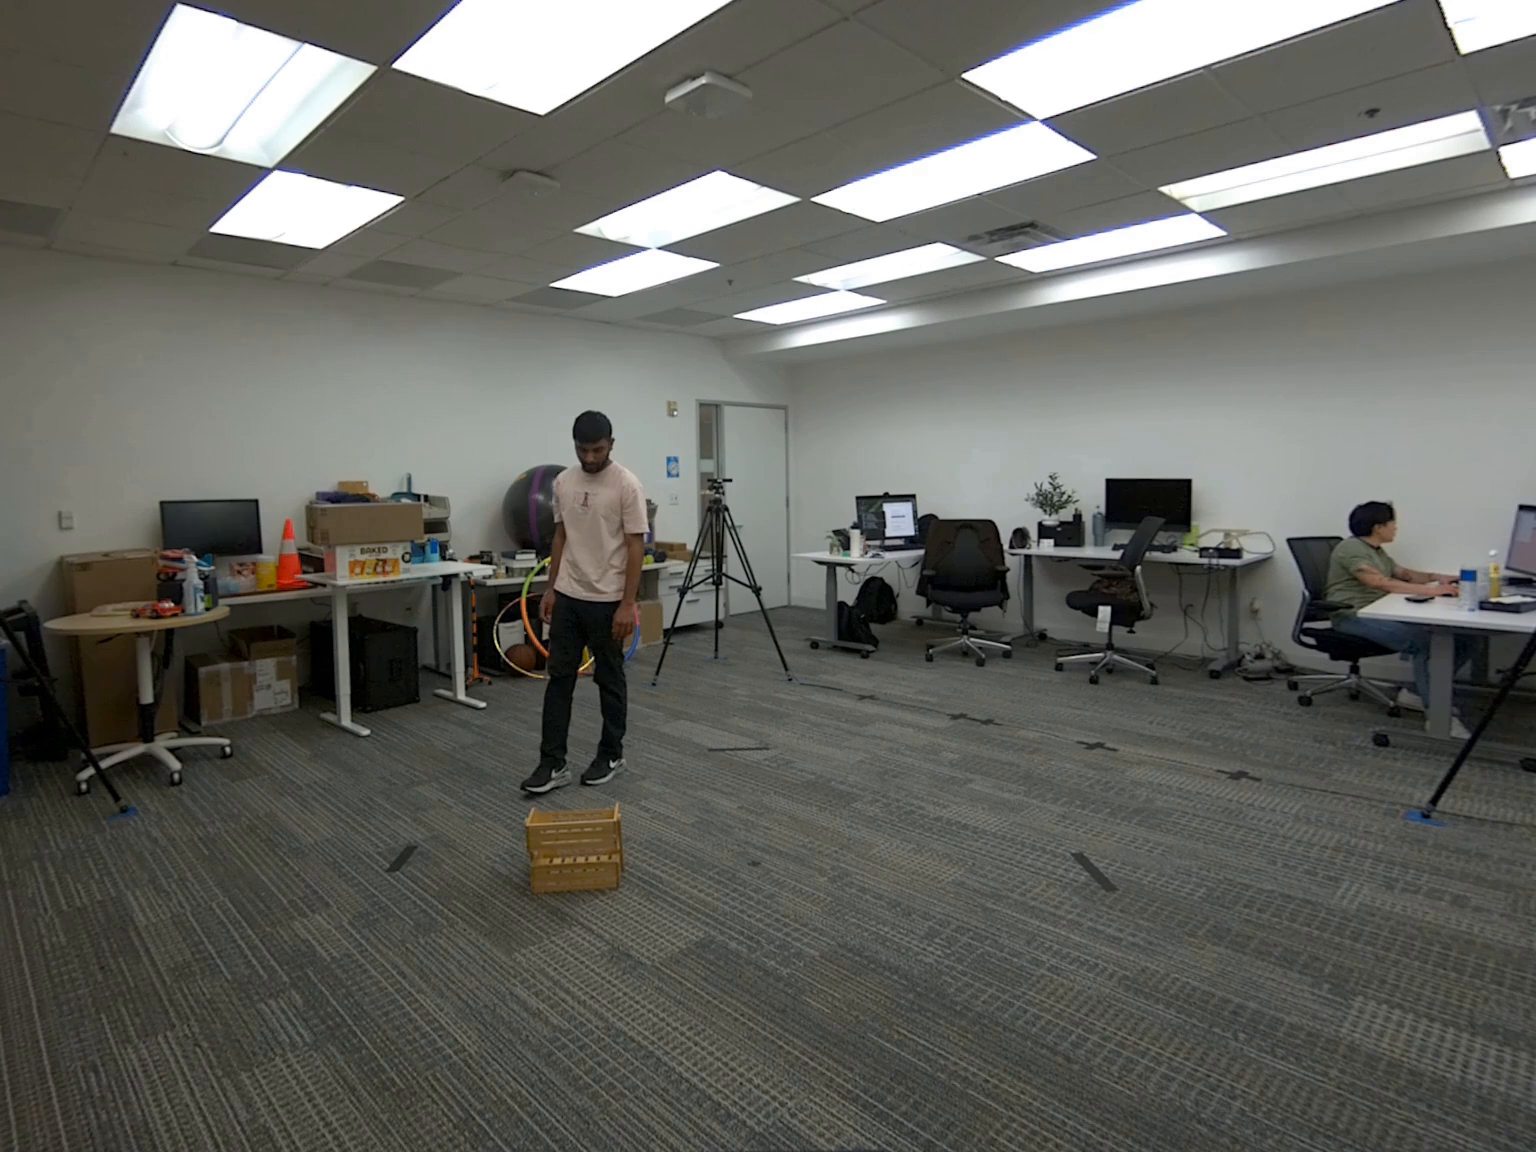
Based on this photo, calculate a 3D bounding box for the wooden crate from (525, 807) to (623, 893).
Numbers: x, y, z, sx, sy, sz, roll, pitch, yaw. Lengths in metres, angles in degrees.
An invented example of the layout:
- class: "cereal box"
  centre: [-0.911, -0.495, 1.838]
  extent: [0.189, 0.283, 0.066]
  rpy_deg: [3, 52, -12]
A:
- class: "wooden crate"
  centre: [-0.680, 0.934, 3.015]
  extent: [0.322, 0.272, 0.305]
  rpy_deg: [-3, 7, -7]
